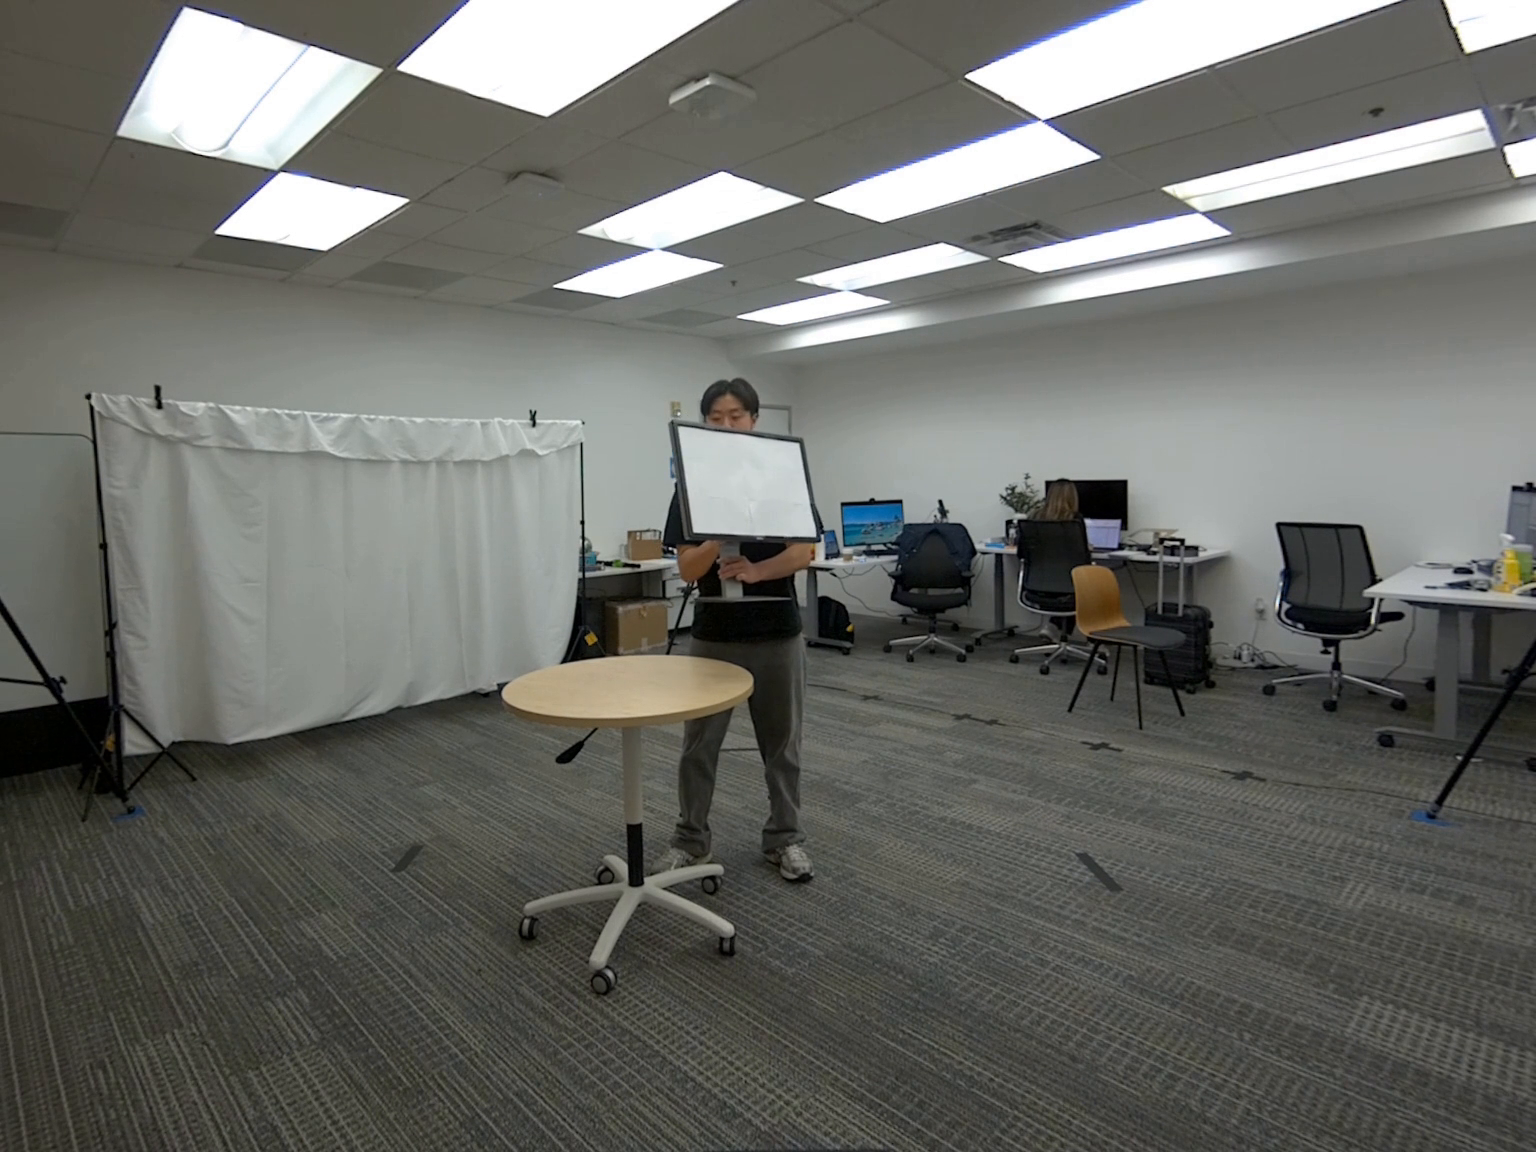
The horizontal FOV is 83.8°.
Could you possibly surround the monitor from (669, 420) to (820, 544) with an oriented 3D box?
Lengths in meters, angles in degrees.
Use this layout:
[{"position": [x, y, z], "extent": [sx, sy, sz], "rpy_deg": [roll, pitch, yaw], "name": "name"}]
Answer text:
[{"position": [-0.089, -0.178, 2.683], "extent": [0.546, 0.566, 0.228], "rpy_deg": [0, 0, -40], "name": "monitor"}]
